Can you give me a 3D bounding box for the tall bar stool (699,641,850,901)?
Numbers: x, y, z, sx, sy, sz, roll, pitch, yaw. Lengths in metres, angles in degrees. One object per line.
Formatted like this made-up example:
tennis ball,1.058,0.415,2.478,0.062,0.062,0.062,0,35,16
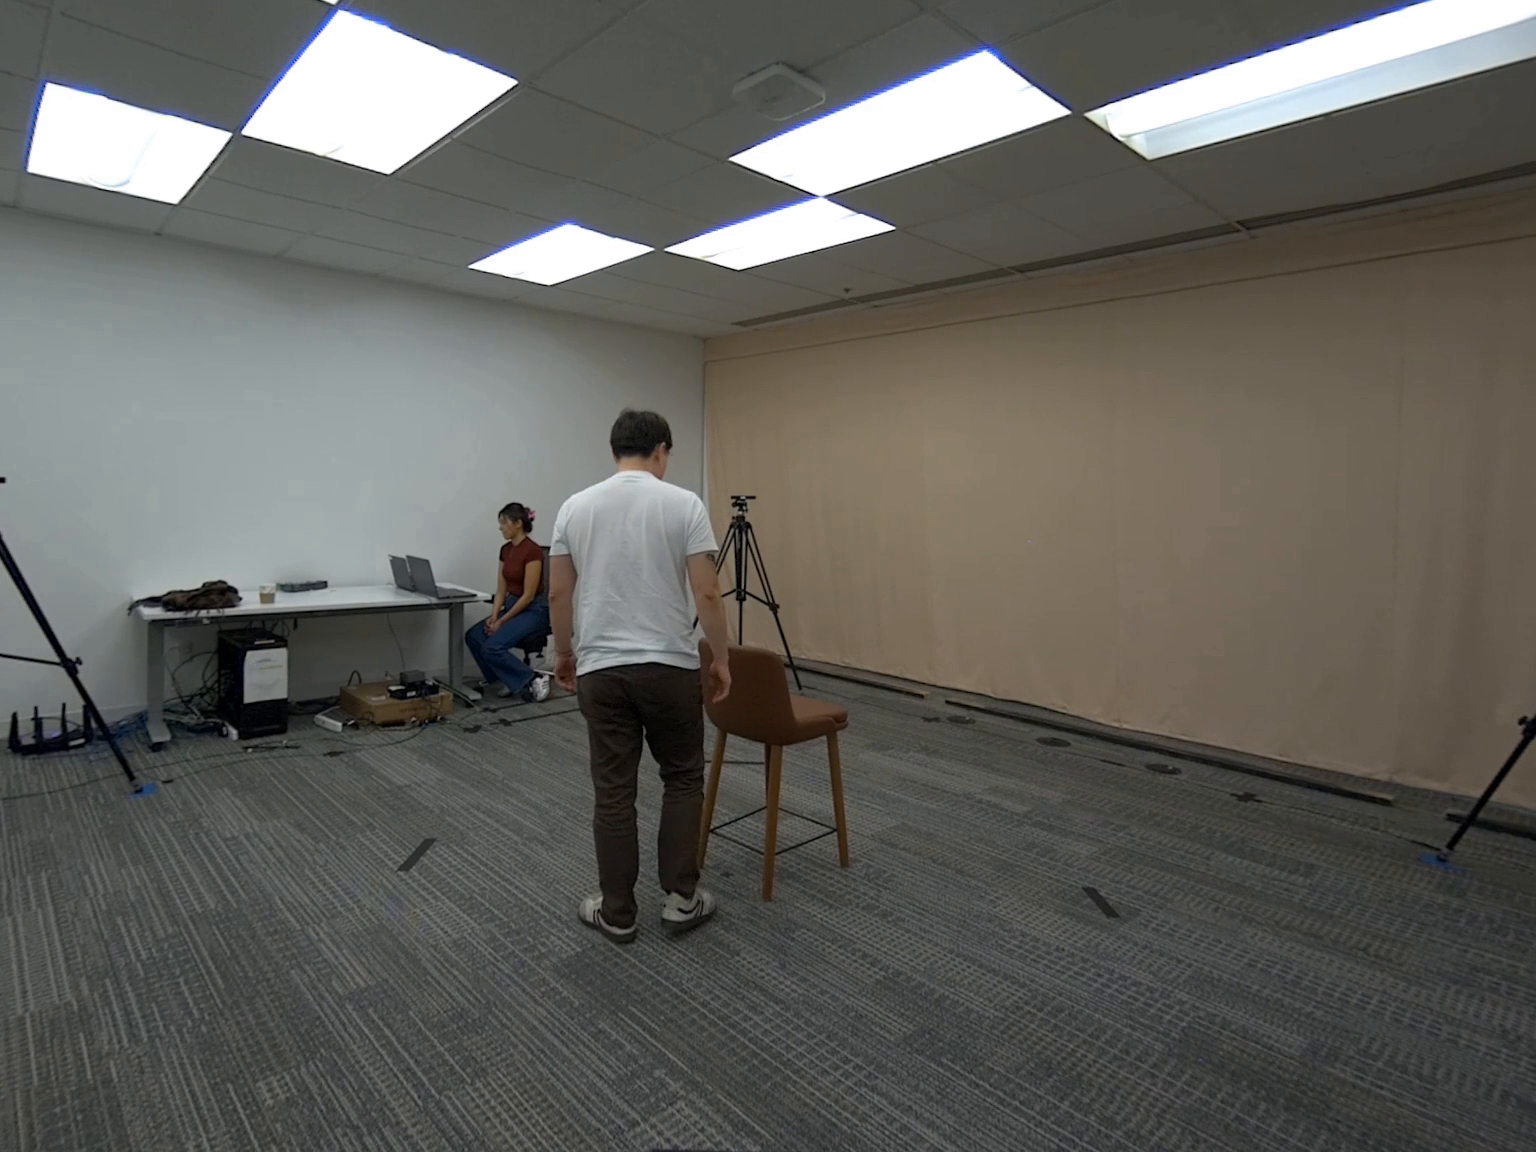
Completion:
tall bar stool,0.013,0.665,3.155,0.468,0.886,0.457,4,7,44
